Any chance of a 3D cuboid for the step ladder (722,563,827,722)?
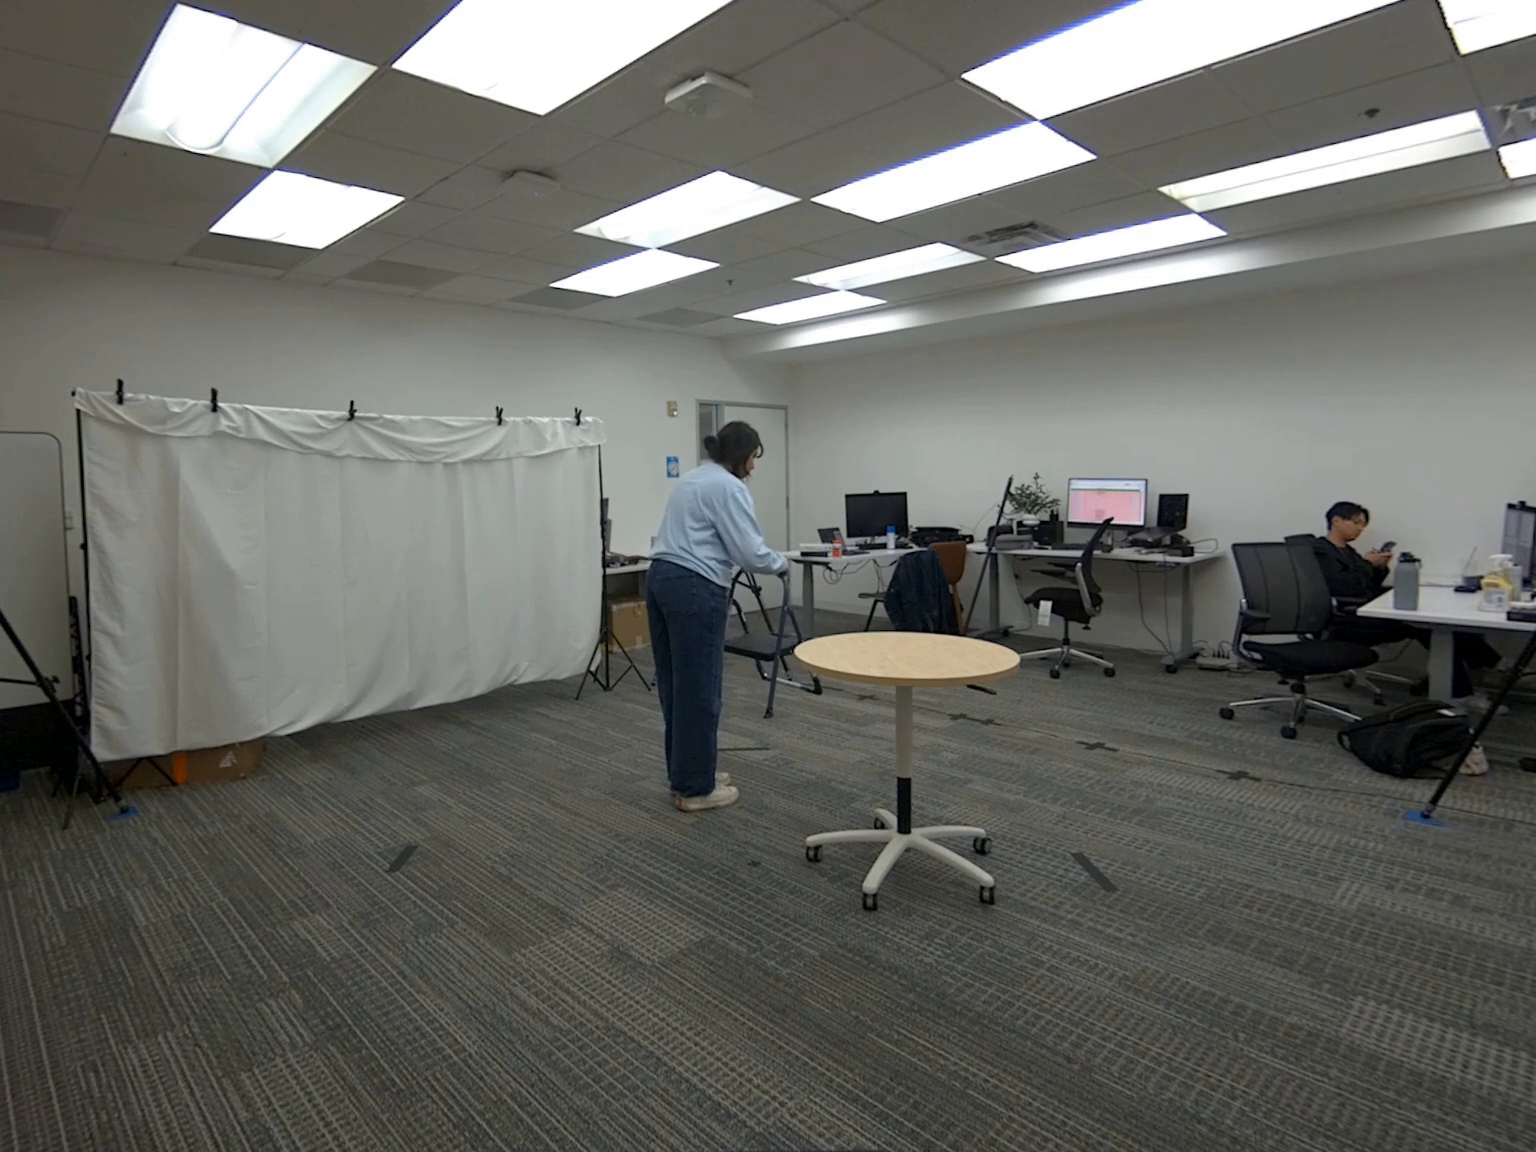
[{"bbox_3d":[-0.047,0.270,3.898,0.342,0.600,0.443,-15,12,-39],"label":"step ladder"}]
